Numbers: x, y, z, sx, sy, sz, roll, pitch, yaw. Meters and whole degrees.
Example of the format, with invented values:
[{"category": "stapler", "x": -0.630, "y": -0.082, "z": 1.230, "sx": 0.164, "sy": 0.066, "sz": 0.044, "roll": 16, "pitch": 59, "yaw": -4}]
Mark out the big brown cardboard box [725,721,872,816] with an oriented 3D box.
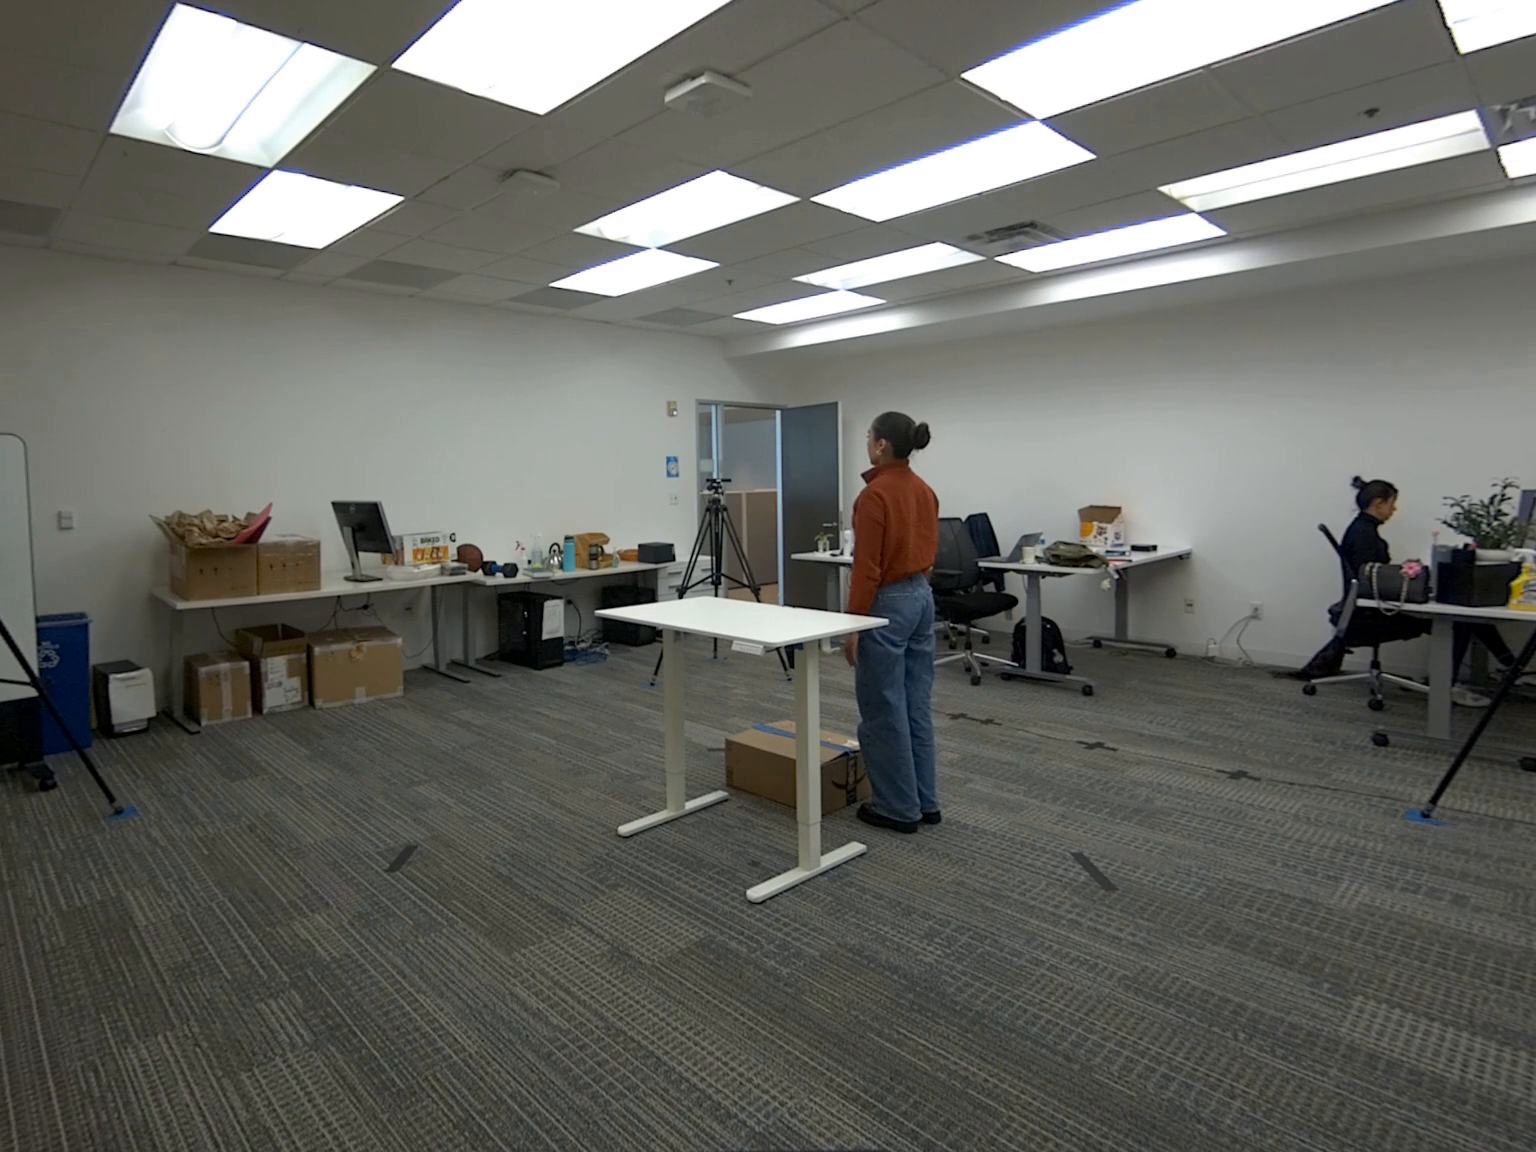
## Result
[{"category": "big brown cardboard box", "x": 0.154, "y": 0.849, "z": 3.846, "sx": 0.406, "sy": 0.232, "sz": 0.607, "roll": -6, "pitch": 7, "yaw": -45}]
